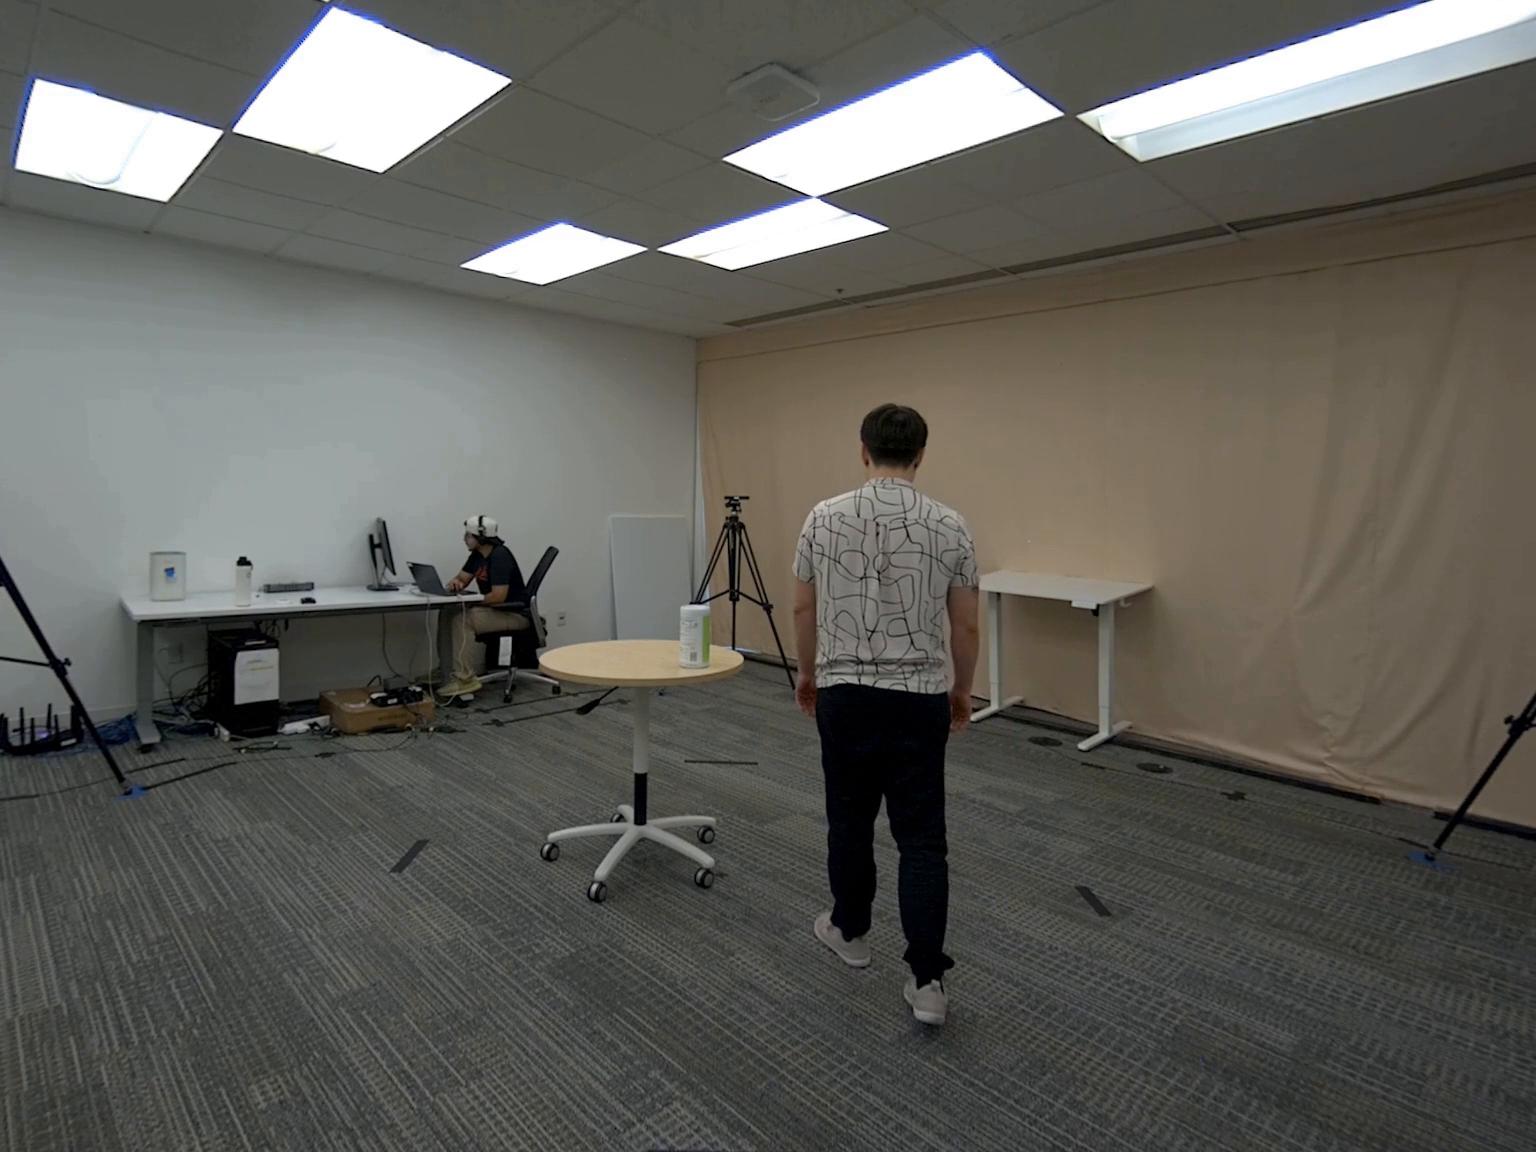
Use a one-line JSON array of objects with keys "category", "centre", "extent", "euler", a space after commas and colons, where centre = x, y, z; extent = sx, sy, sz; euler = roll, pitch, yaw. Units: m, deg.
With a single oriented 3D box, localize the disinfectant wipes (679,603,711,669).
[{"category": "disinfectant wipes", "centre": [-0.268, 0.218, 3.028], "extent": [0.118, 0.217, 0.118], "euler": [2, 3, -1]}]
